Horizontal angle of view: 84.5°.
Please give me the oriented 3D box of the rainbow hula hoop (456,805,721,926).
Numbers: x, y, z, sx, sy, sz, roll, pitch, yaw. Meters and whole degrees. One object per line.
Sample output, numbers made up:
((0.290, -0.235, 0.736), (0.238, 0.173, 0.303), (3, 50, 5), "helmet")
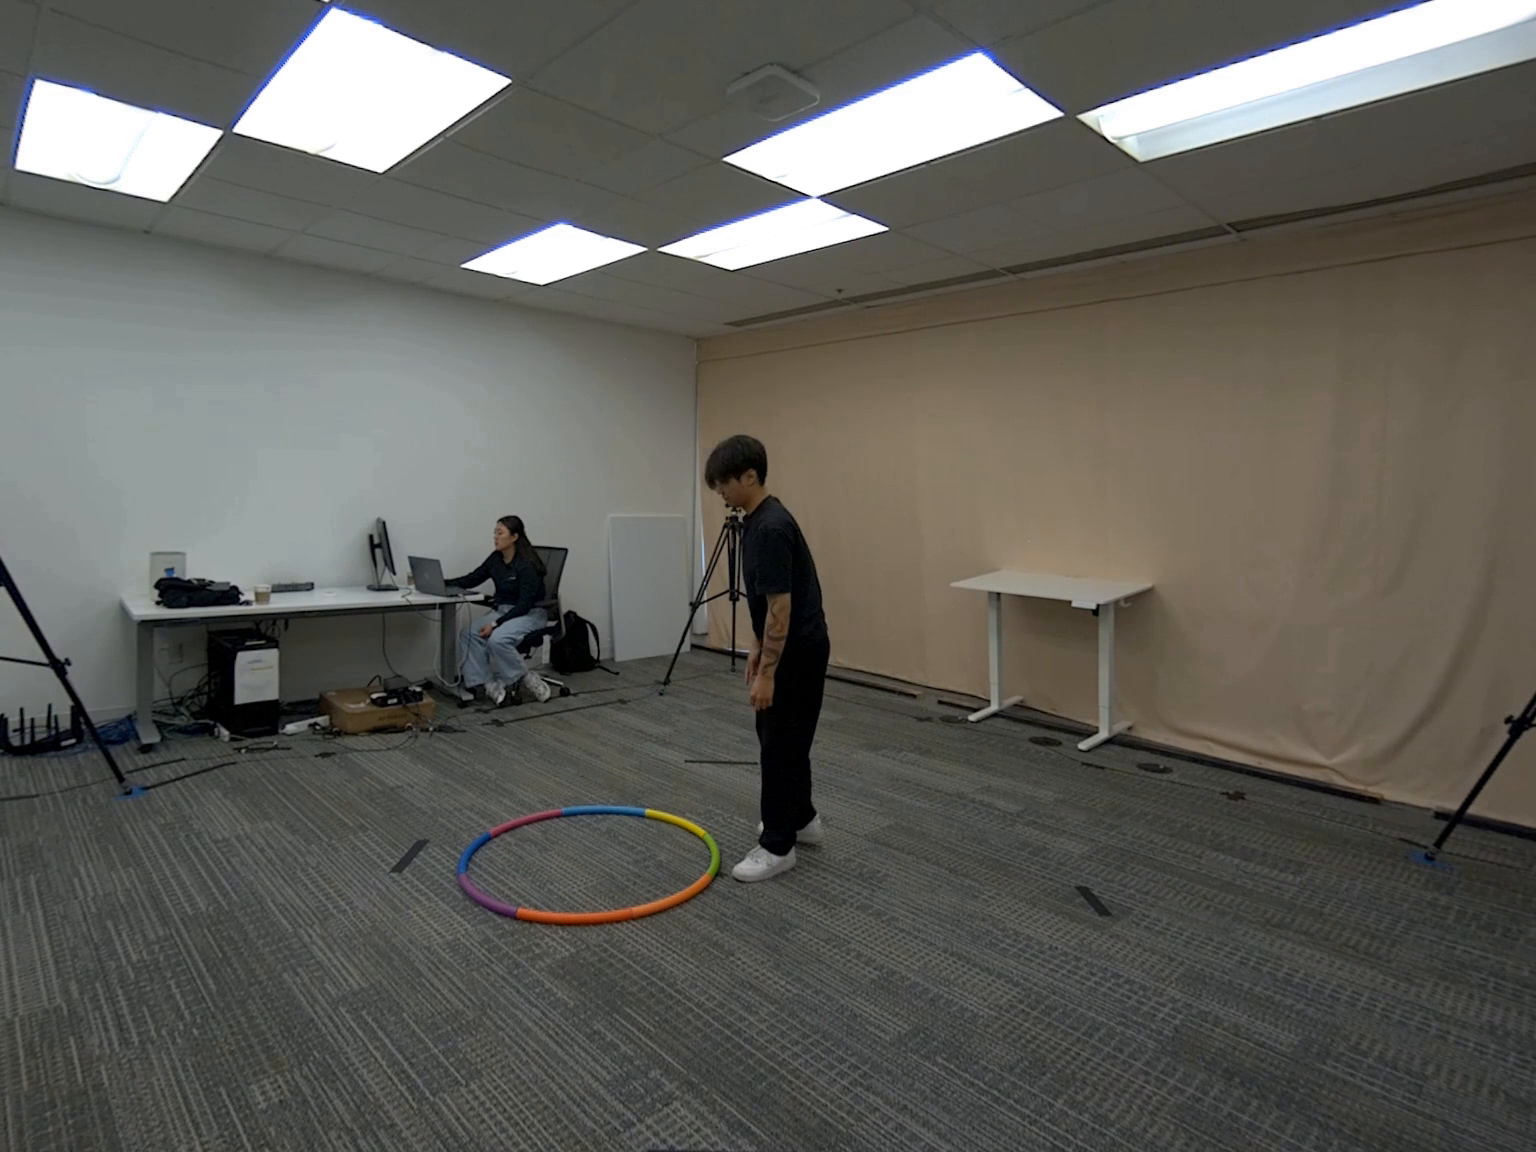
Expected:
((-0.671, 1.054, 3.201), (0.978, 0.035, 0.982), (1, 5, -1), "rainbow hula hoop")
